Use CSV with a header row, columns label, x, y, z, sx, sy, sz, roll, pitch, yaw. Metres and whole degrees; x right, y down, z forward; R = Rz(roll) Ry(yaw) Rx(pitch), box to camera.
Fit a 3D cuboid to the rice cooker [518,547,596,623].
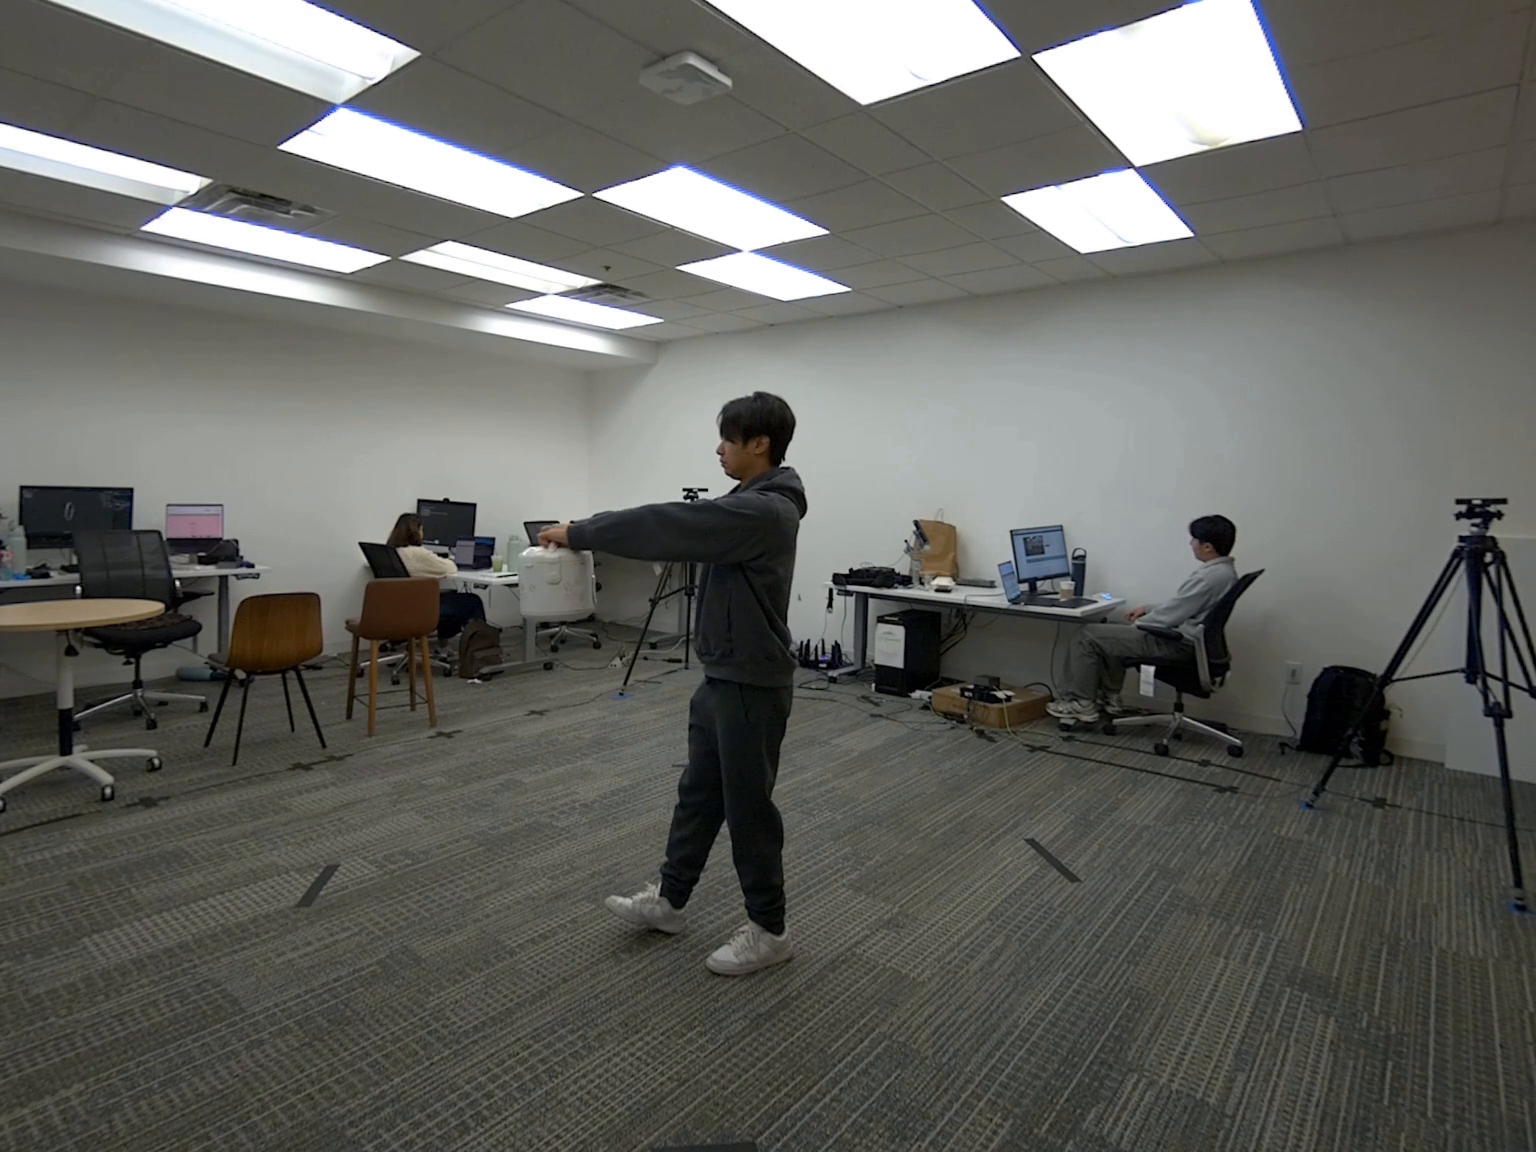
label,x,y,z,sx,sy,sz,roll,pitch,yaw
rice cooker,-0.616,0.012,2.441,0.216,0.232,0.223,-3,4,-6
